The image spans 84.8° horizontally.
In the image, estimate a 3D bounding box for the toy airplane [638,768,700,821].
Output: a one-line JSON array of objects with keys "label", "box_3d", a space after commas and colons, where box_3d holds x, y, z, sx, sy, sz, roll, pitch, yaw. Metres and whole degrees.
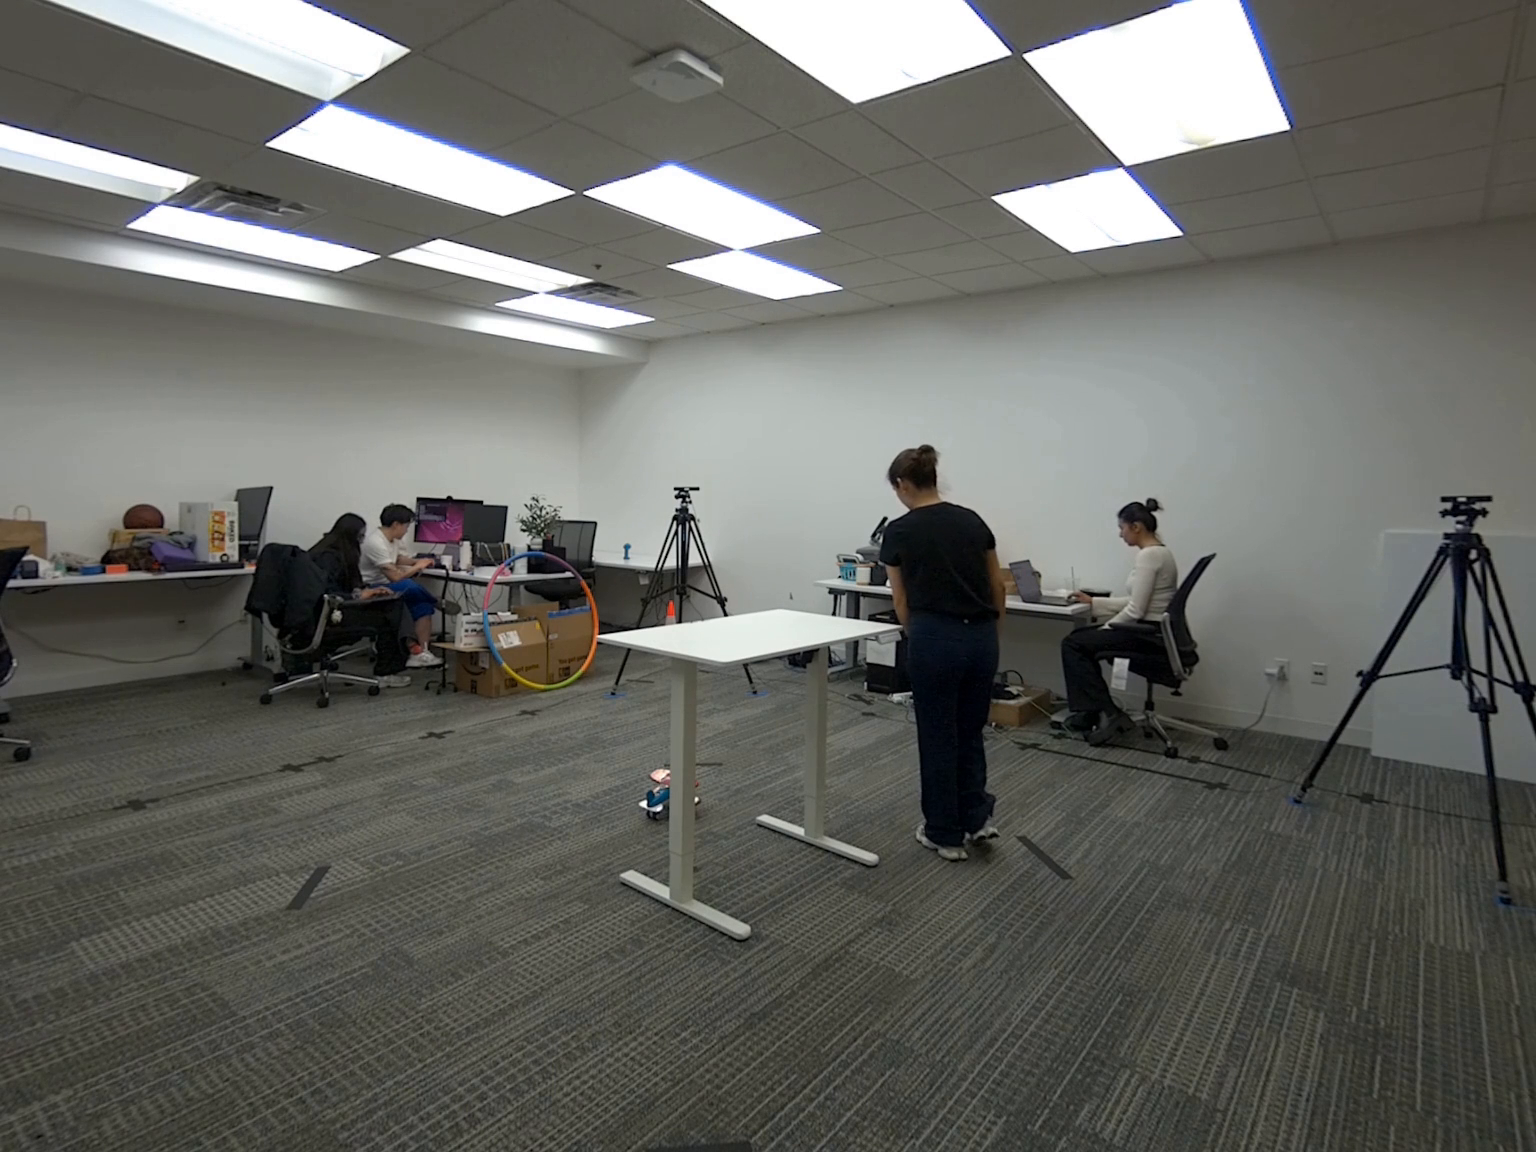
[{"label": "toy airplane", "box_3d": [-0.390, 0.933, 3.644, 0.255, 0.156, 0.256, 2, 4, 12]}]
